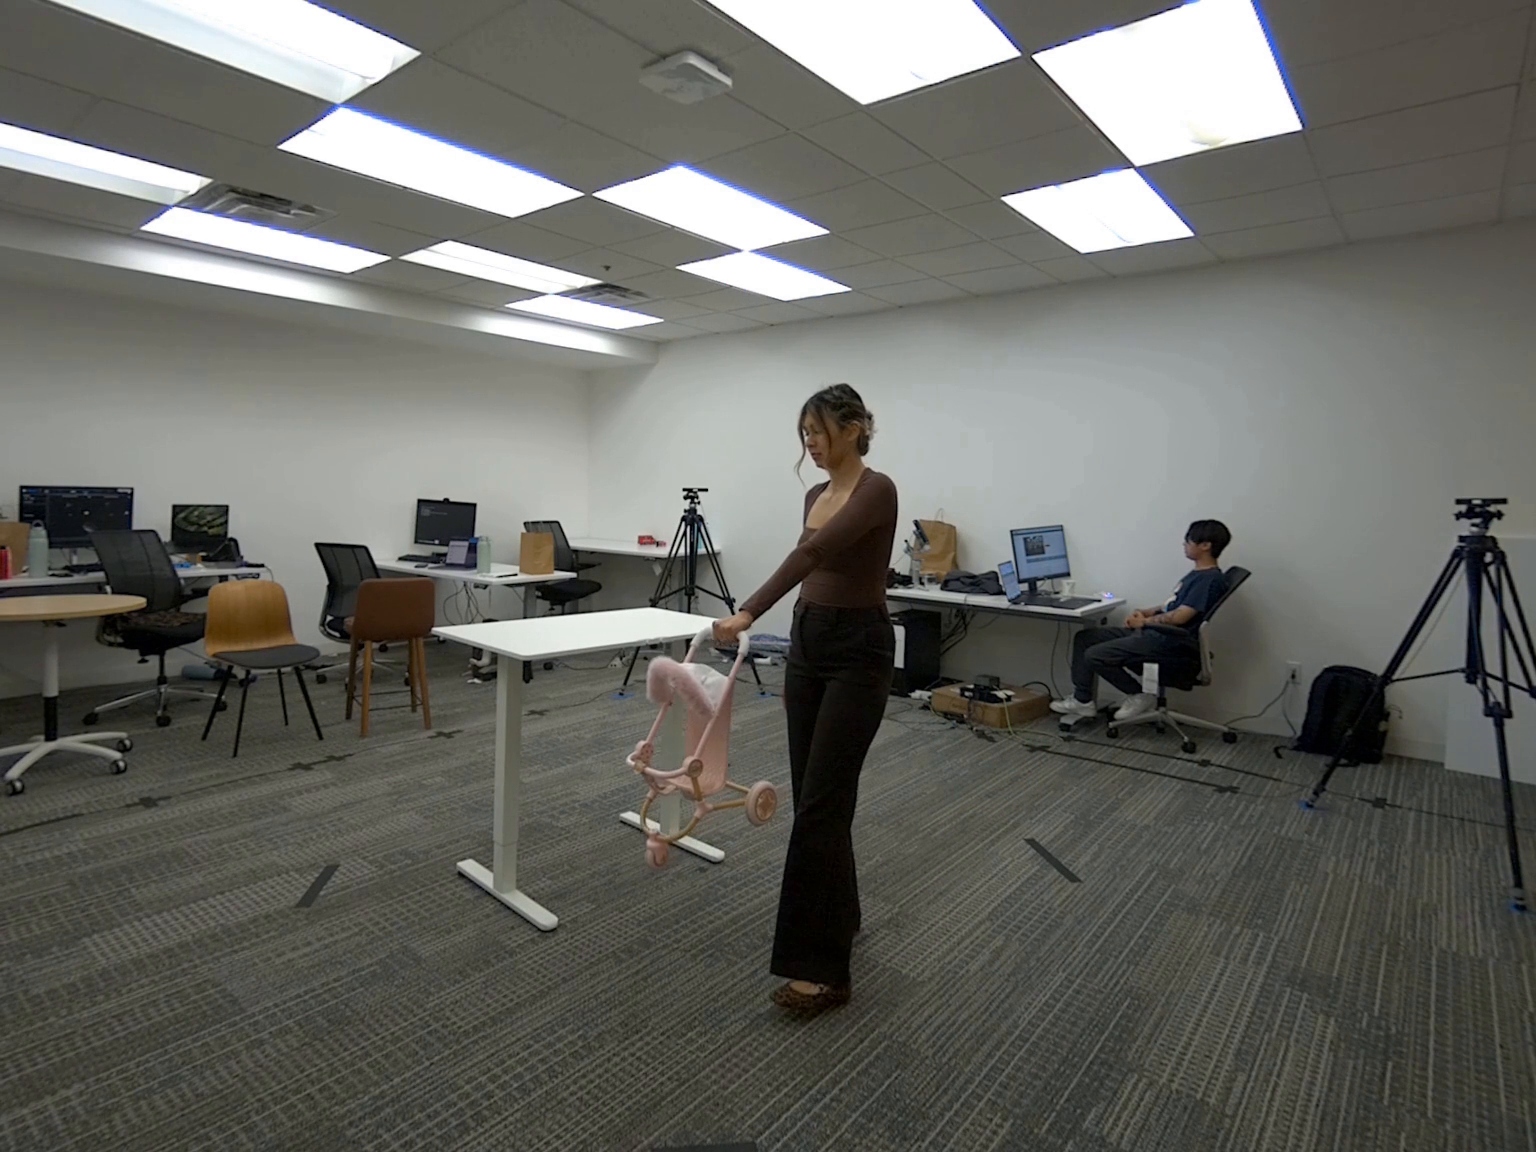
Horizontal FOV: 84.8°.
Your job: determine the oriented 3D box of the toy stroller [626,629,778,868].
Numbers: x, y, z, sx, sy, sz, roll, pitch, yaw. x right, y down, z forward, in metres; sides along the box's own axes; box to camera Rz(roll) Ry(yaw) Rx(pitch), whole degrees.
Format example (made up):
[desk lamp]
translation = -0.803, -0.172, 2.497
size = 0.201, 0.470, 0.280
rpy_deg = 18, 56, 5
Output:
[toy stroller]
translation = -0.205, 0.424, 2.134
size = 0.333, 0.531, 0.291
rpy_deg = -10, 9, -38
